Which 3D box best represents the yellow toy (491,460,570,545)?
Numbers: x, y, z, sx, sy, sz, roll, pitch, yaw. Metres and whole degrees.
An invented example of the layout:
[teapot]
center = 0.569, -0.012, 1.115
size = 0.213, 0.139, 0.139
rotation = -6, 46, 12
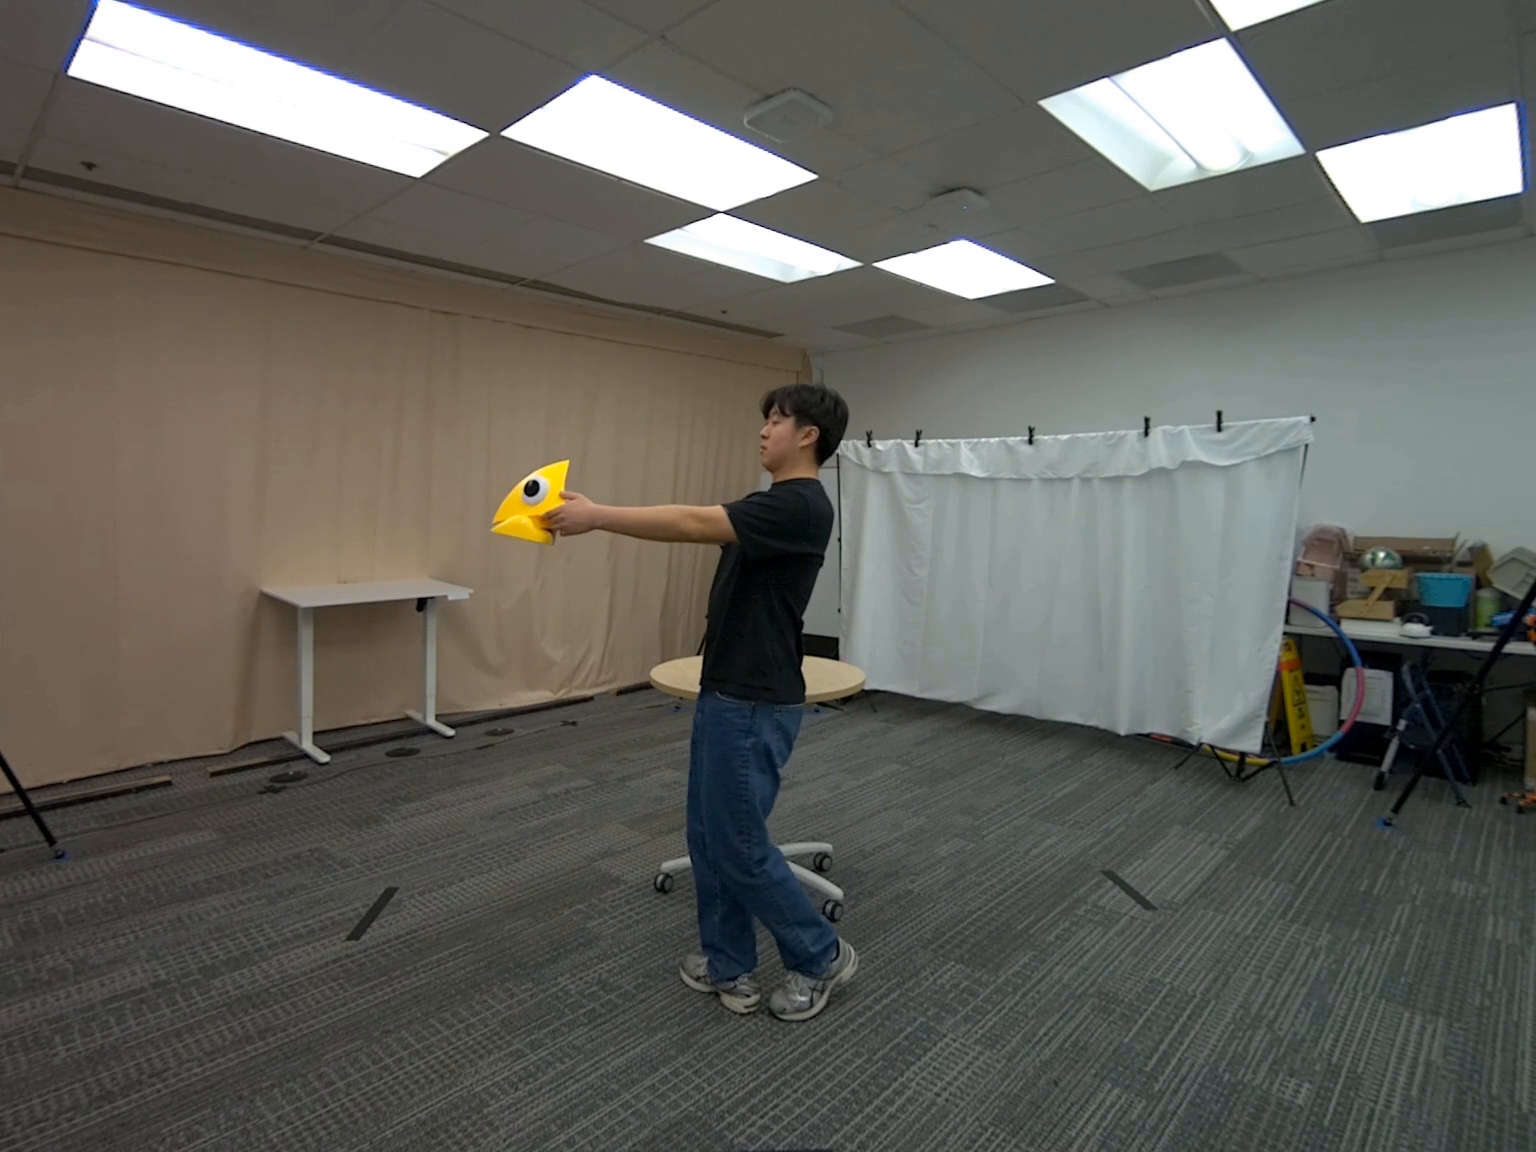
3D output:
[yellow toy]
center = -0.605, -0.206, 2.222
size = 0.191, 0.231, 0.207
rotation = 13, -2, -10
